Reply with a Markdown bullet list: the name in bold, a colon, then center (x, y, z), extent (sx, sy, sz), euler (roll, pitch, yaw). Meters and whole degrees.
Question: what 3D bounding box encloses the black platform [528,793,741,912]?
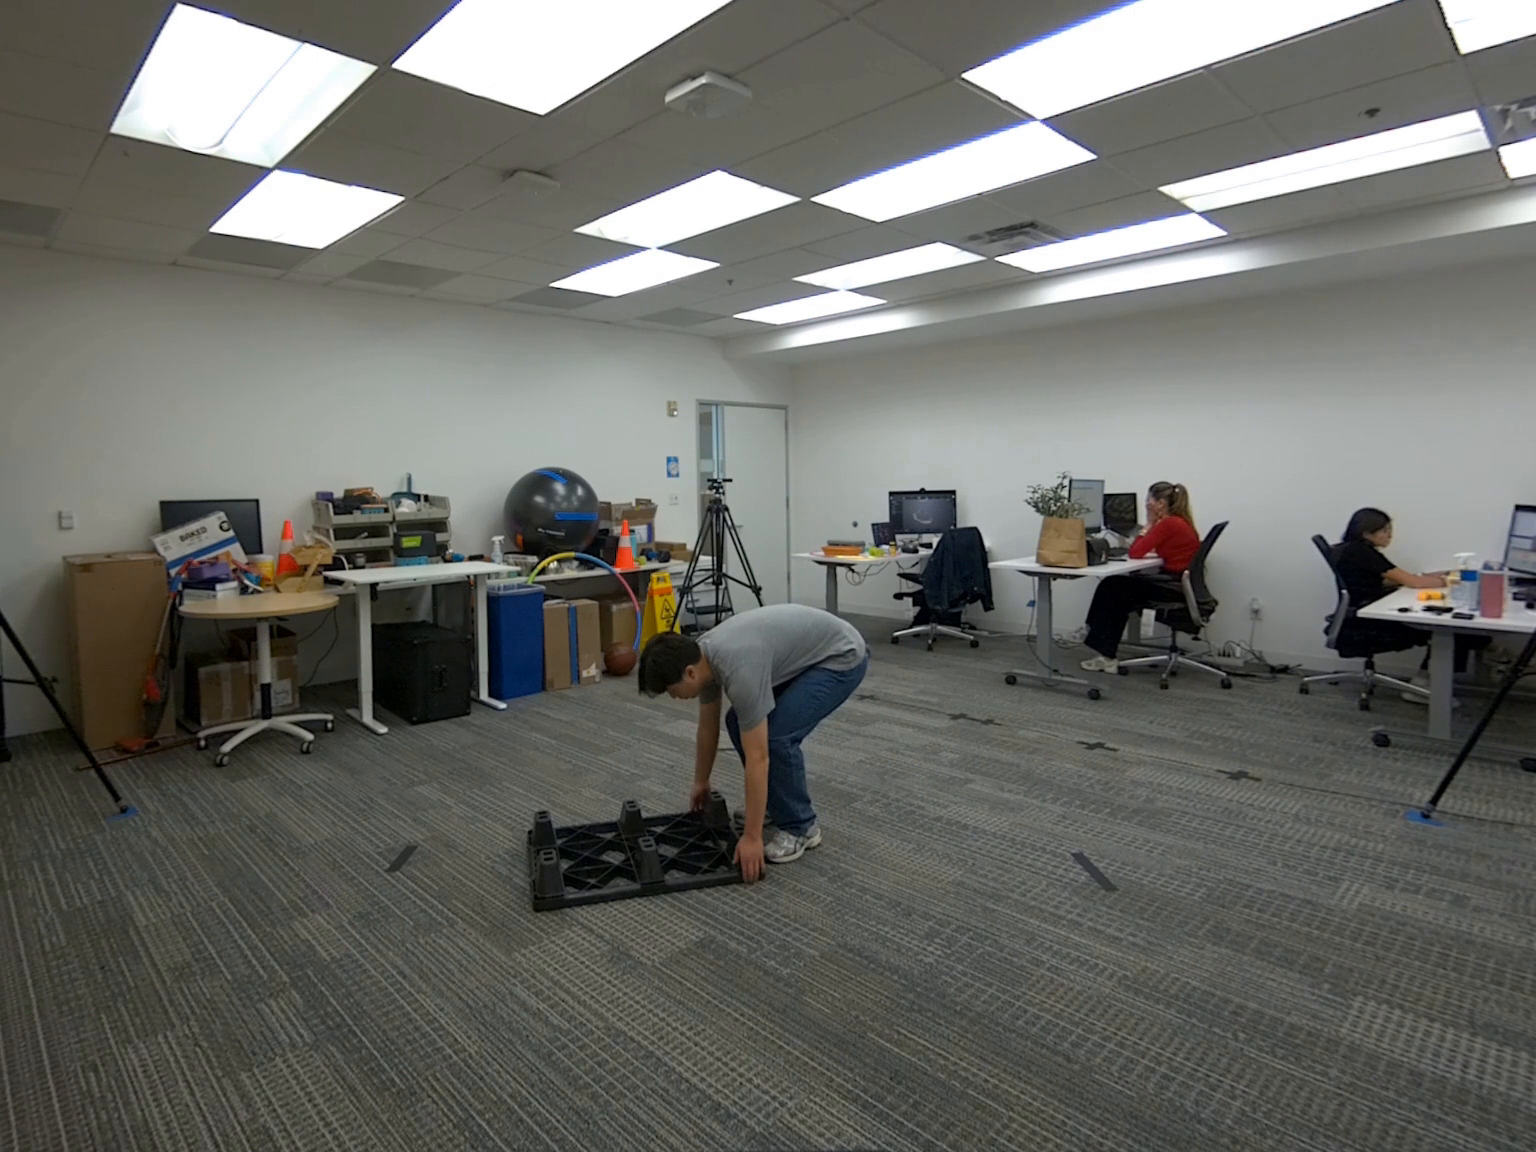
- **black platform**: center (-0.473, 0.976, 3.151), extent (0.794, 0.143, 0.617), euler (-3, 6, -16)
